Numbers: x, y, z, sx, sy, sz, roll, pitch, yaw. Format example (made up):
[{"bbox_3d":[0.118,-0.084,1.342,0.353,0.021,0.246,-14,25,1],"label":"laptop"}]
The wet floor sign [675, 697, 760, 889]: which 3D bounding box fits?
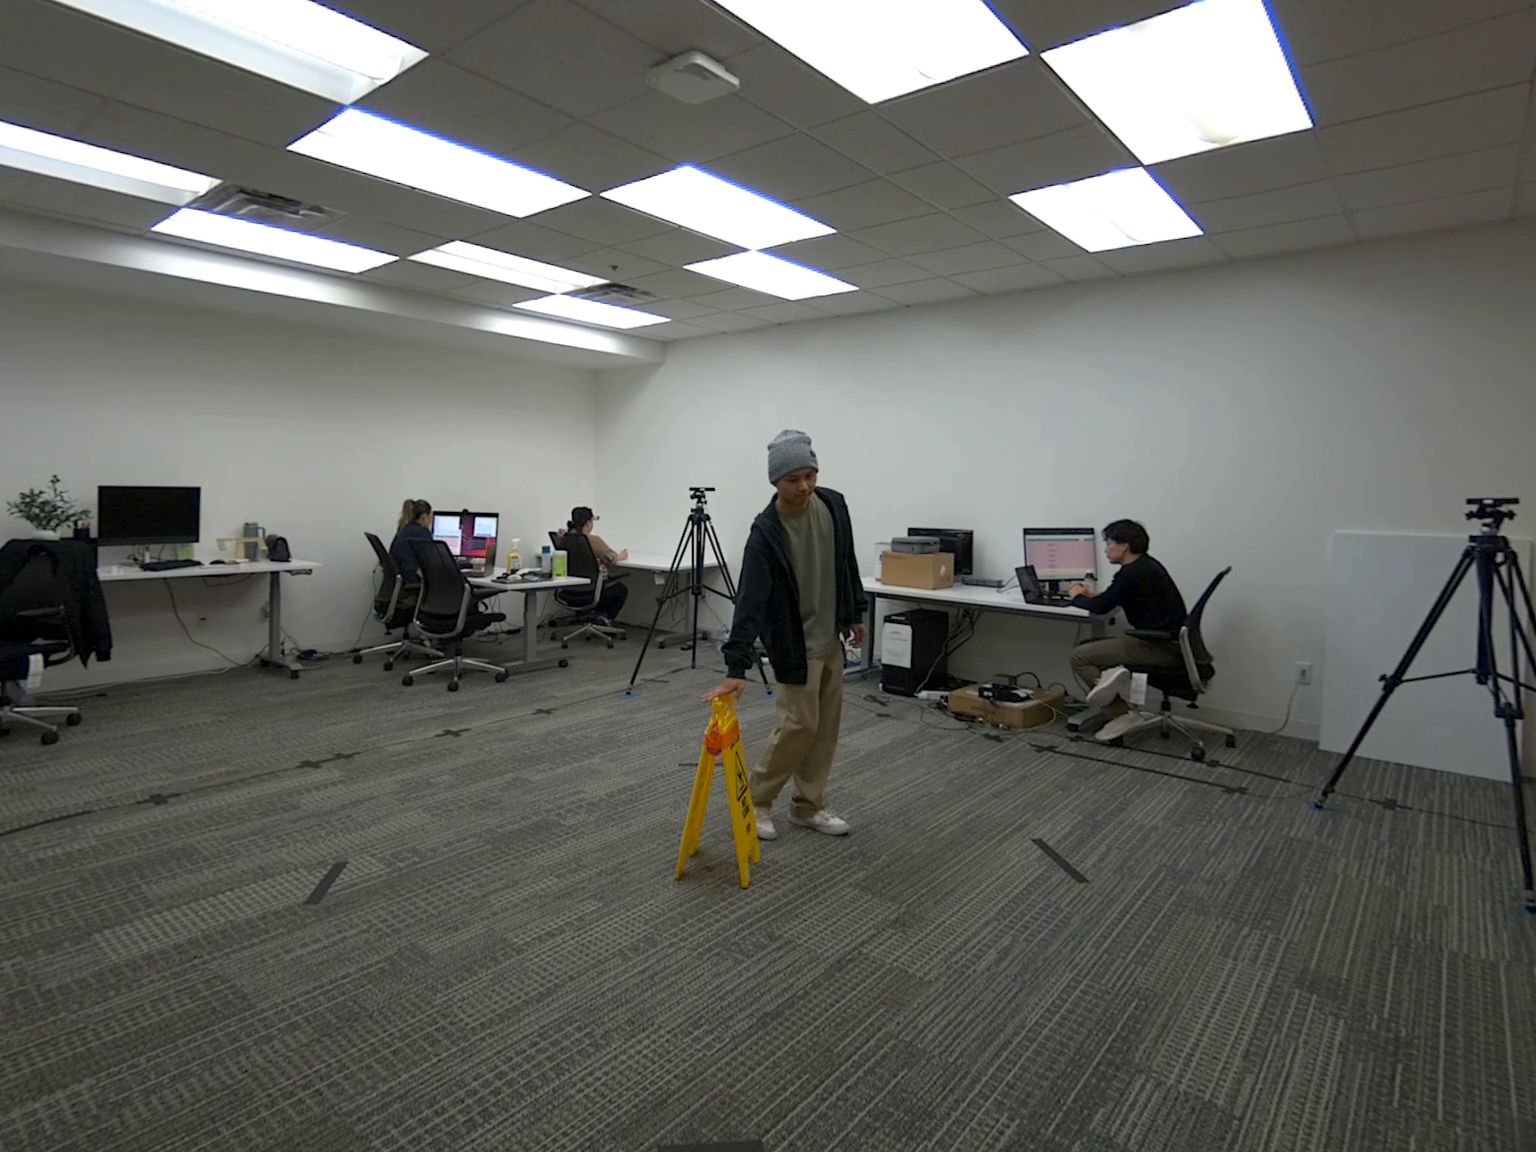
[{"bbox_3d":[-0.179,0.743,3.098,0.293,0.644,0.280,2,4,11],"label":"wet floor sign"}]
